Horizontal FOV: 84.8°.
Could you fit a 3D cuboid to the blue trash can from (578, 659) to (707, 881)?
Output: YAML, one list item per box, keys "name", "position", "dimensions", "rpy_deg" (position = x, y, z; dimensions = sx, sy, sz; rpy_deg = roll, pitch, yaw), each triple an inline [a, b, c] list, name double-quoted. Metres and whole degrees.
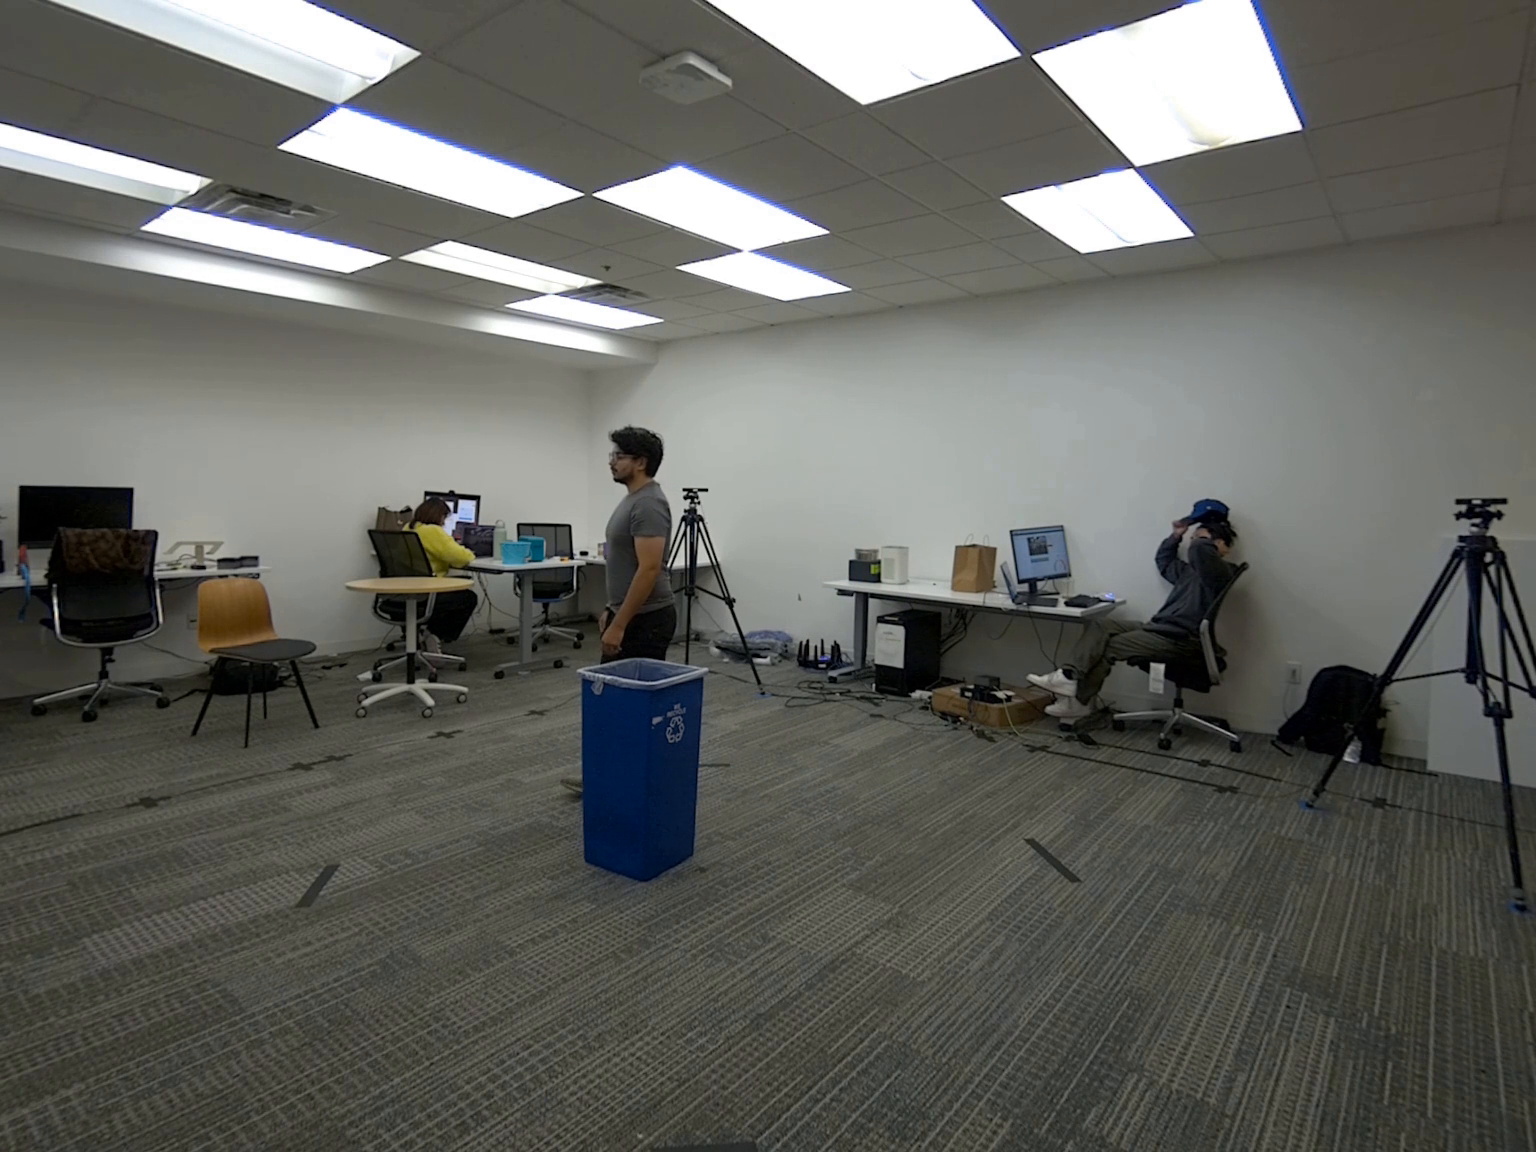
- name: "blue trash can"
  position: [-0.481, 0.699, 3.189]
  dimensions: [0.390, 0.712, 0.363]
  rpy_deg: [3, 3, 33]
